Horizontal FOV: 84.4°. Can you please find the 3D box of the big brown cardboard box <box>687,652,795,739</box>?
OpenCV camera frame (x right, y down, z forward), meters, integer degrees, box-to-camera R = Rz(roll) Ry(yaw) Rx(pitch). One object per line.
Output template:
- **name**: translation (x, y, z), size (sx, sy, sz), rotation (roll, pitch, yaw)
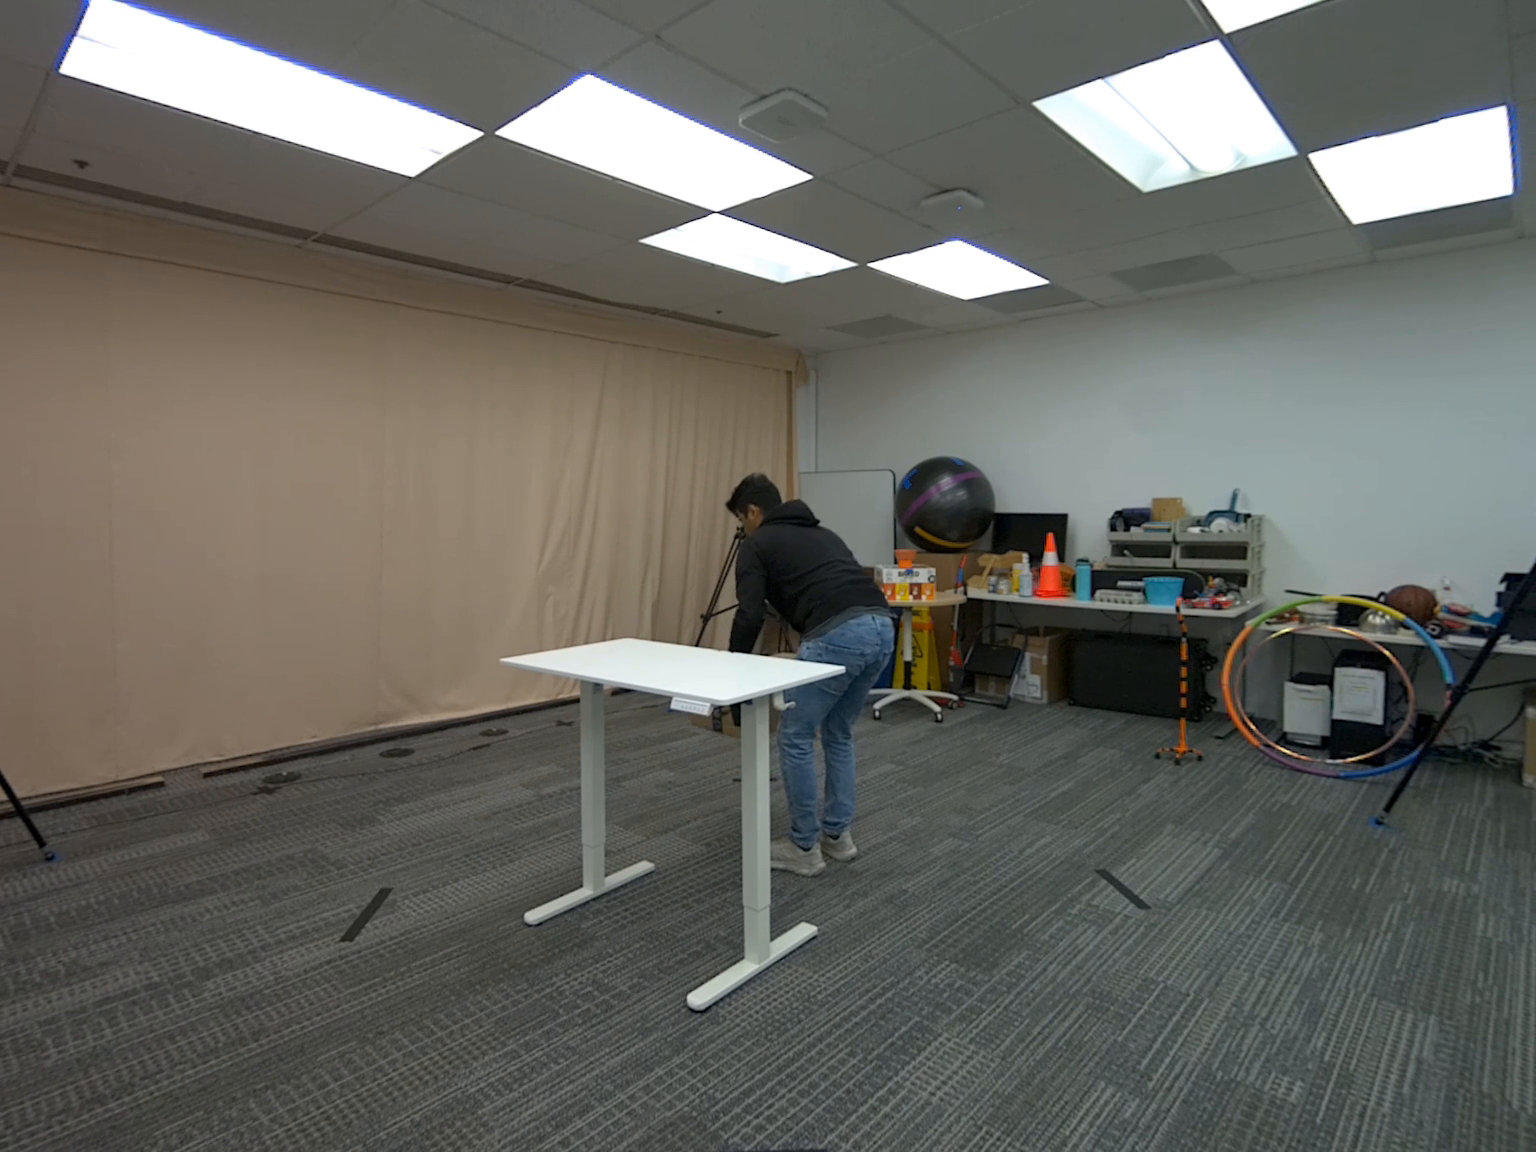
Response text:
- **big brown cardboard box**: translation (-0.014, 0.510, 3.653), size (0.572, 0.232, 0.430), rotation (-8, 5, -37)
